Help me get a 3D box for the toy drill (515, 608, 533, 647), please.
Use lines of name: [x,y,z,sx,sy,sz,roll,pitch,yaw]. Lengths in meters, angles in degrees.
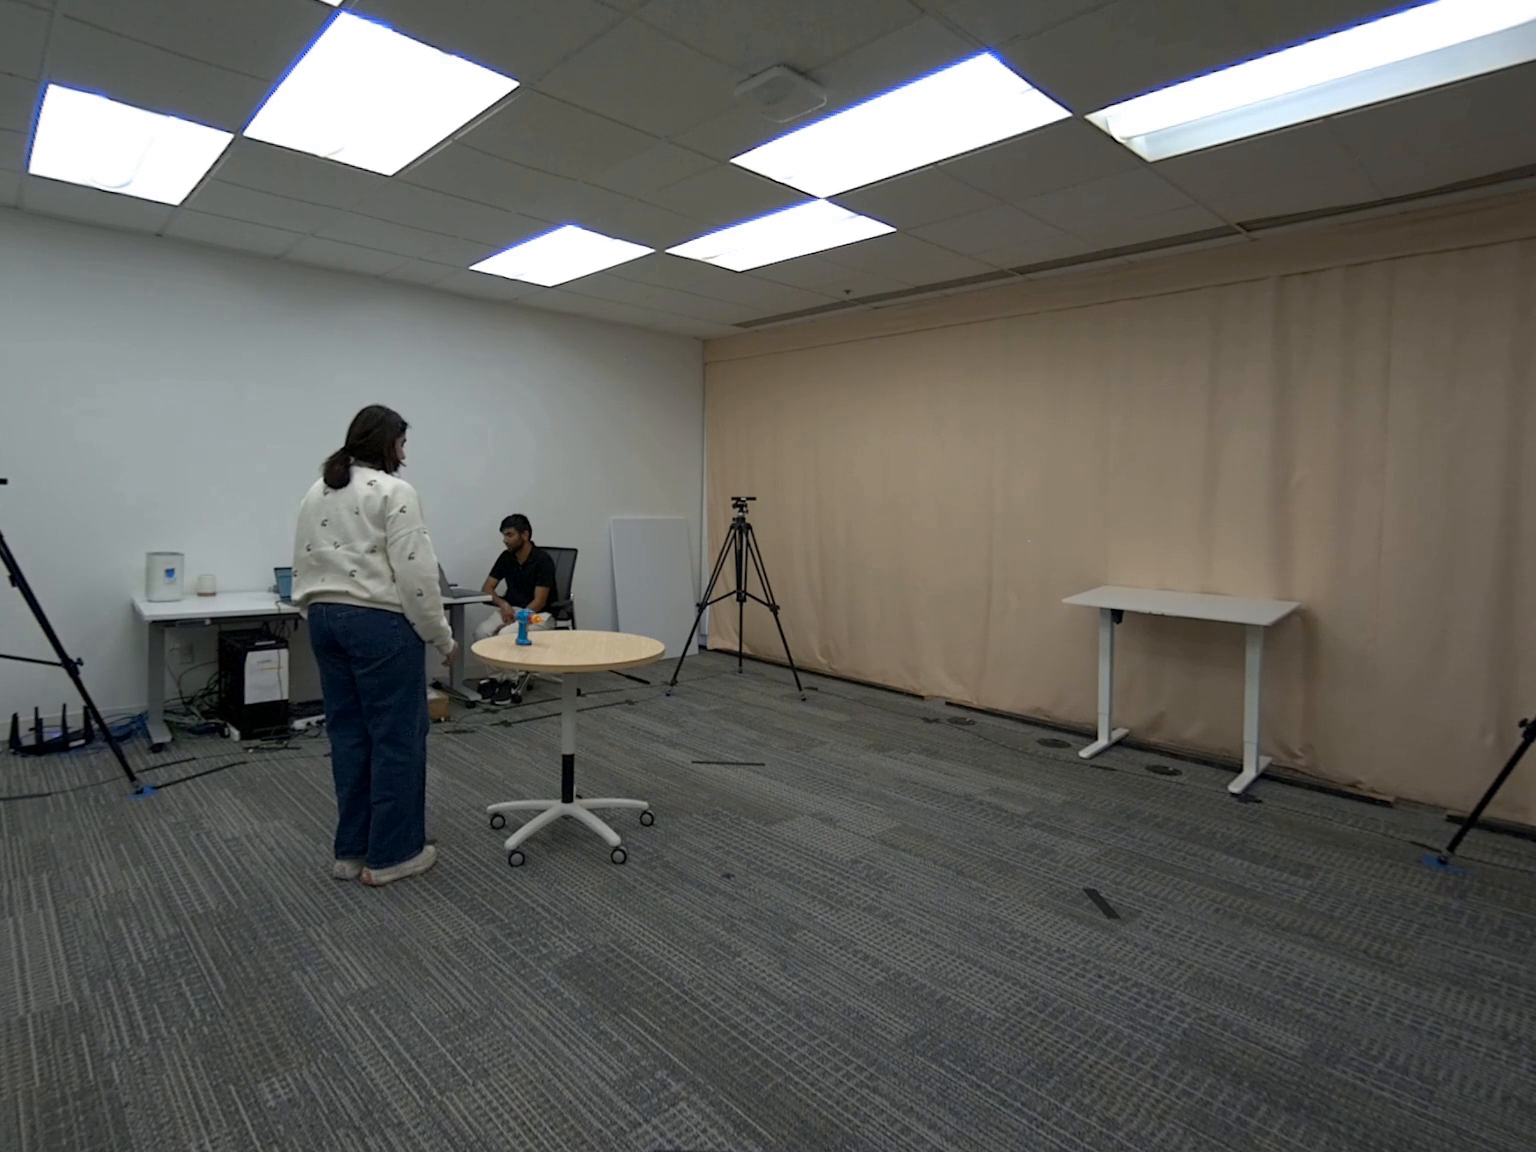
toy drill: [-0.966,0.207,3.379,0.173,0.146,0.060,3,2,31]
